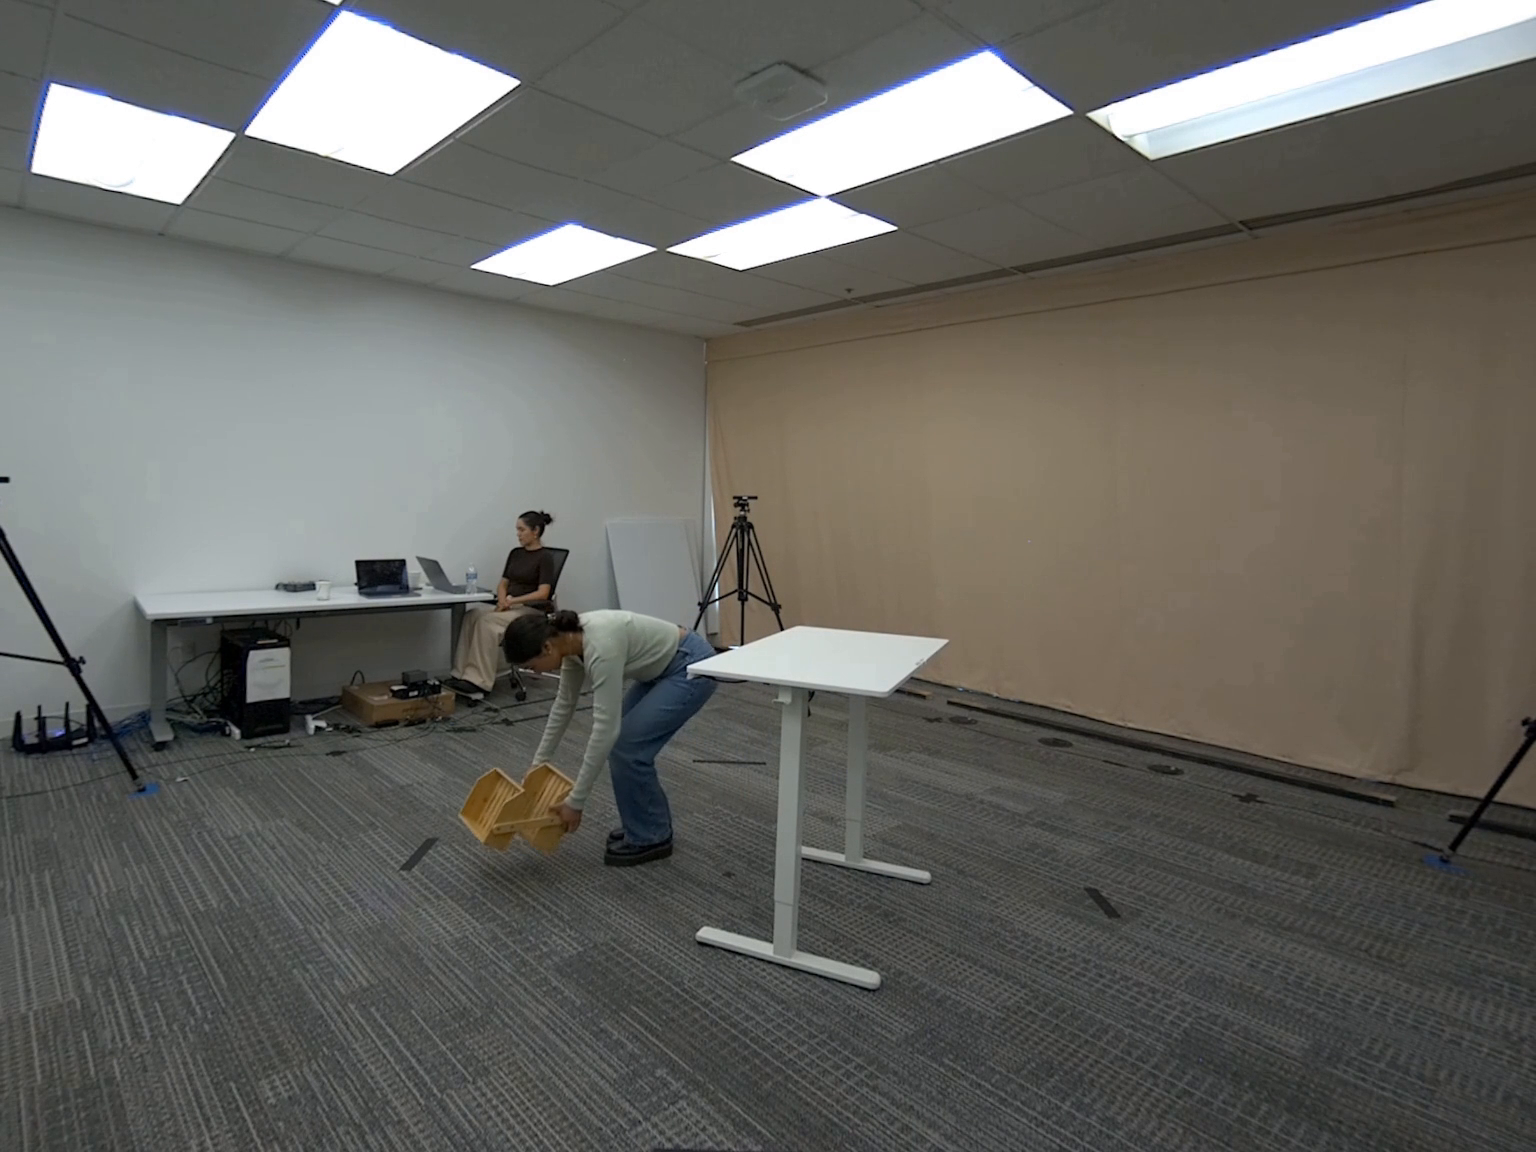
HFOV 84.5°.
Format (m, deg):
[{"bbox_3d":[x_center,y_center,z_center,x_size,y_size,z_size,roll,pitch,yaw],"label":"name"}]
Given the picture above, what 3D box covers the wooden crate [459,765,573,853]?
[{"bbox_3d":[-0.904,0.820,3.041,0.266,0.303,0.332,36,-16,-31],"label":"wooden crate"}]
